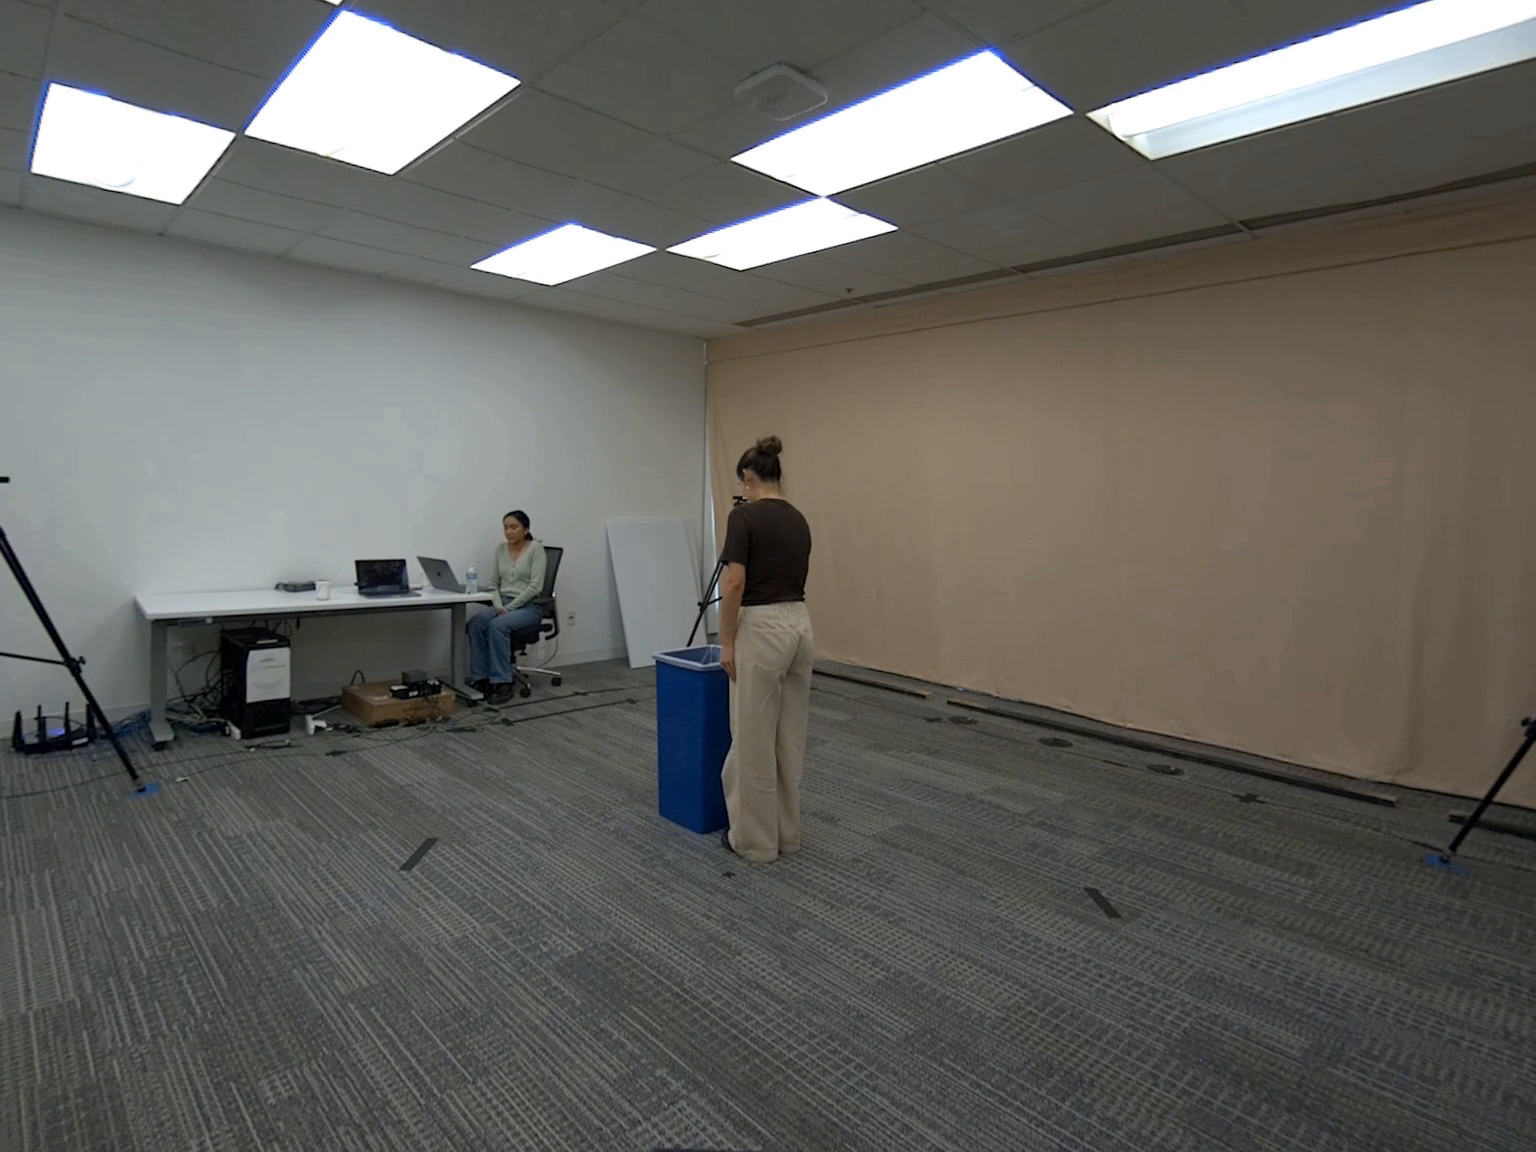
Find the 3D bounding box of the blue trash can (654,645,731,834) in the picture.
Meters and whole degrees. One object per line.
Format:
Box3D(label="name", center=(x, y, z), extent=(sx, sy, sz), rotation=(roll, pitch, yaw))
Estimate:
Box3D(label="blue trash can", center=(-0.280, 0.693, 3.663), extent=(0.369, 0.712, 0.383), rotation=(-2, 5, -44))
